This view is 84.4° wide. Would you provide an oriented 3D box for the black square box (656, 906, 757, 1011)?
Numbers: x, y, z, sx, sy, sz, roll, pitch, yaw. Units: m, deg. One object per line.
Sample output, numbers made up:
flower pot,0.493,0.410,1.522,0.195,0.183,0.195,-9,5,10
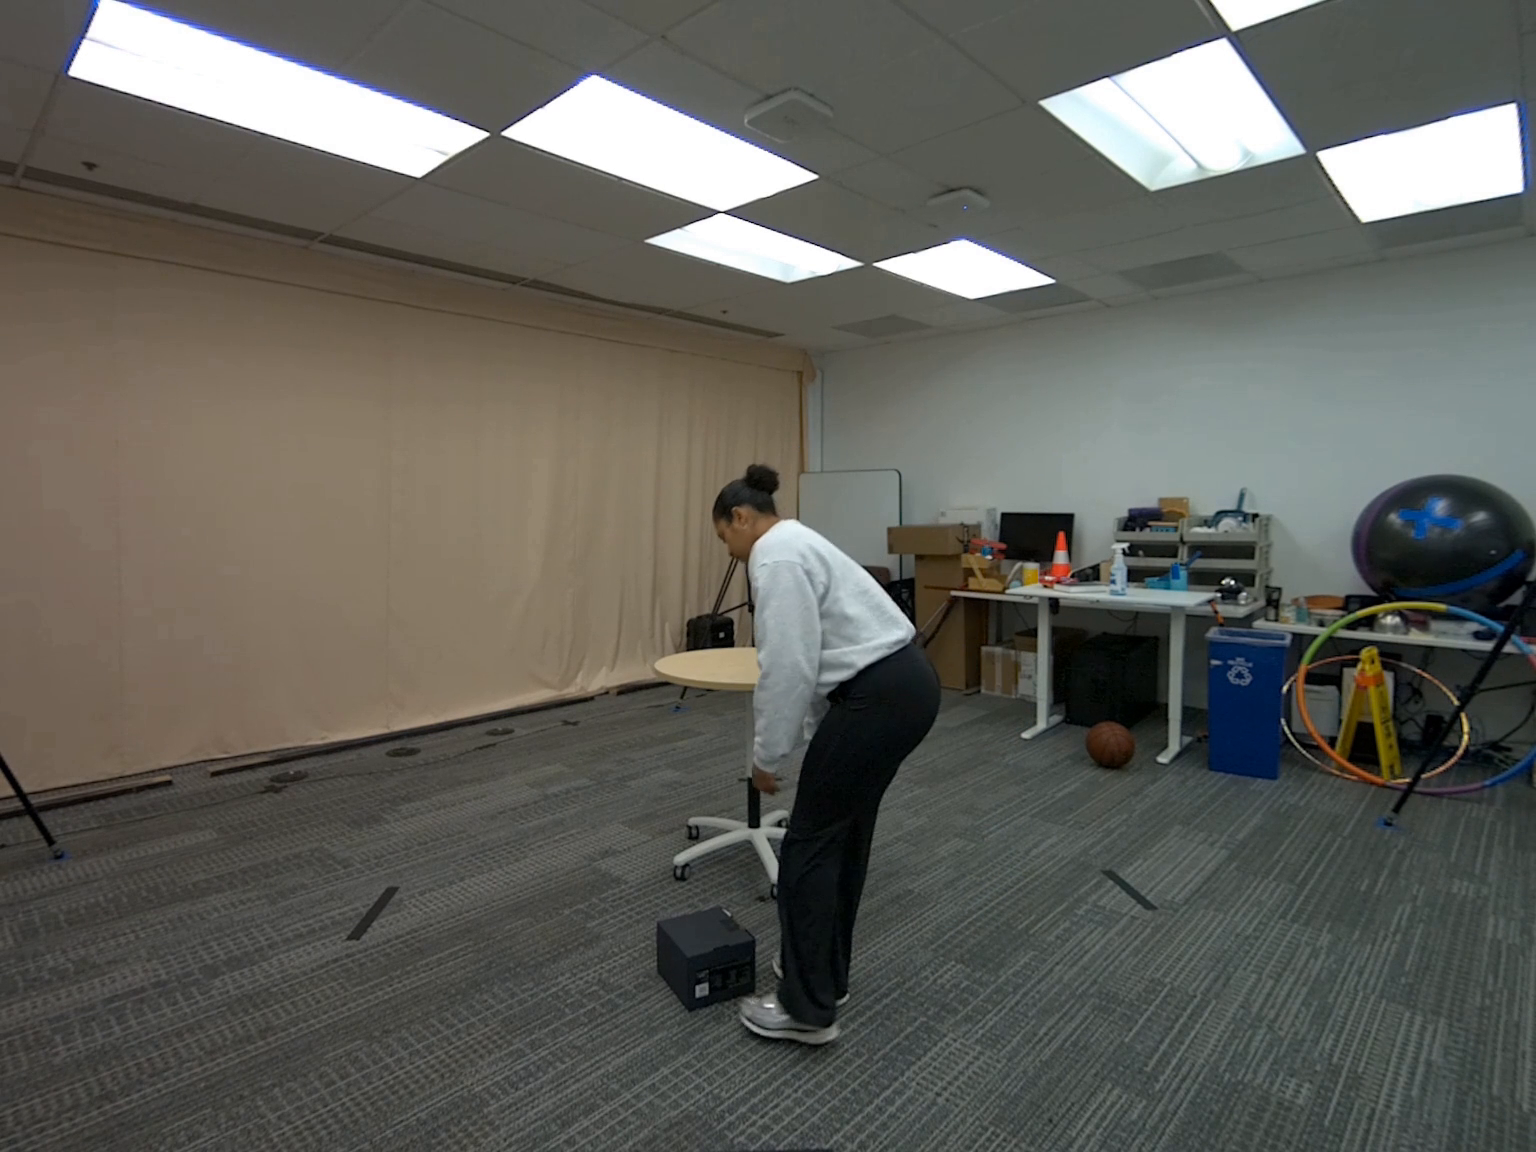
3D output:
black square box,-0.181,1.107,2.459,0.211,0.155,0.234,-2,4,-28
